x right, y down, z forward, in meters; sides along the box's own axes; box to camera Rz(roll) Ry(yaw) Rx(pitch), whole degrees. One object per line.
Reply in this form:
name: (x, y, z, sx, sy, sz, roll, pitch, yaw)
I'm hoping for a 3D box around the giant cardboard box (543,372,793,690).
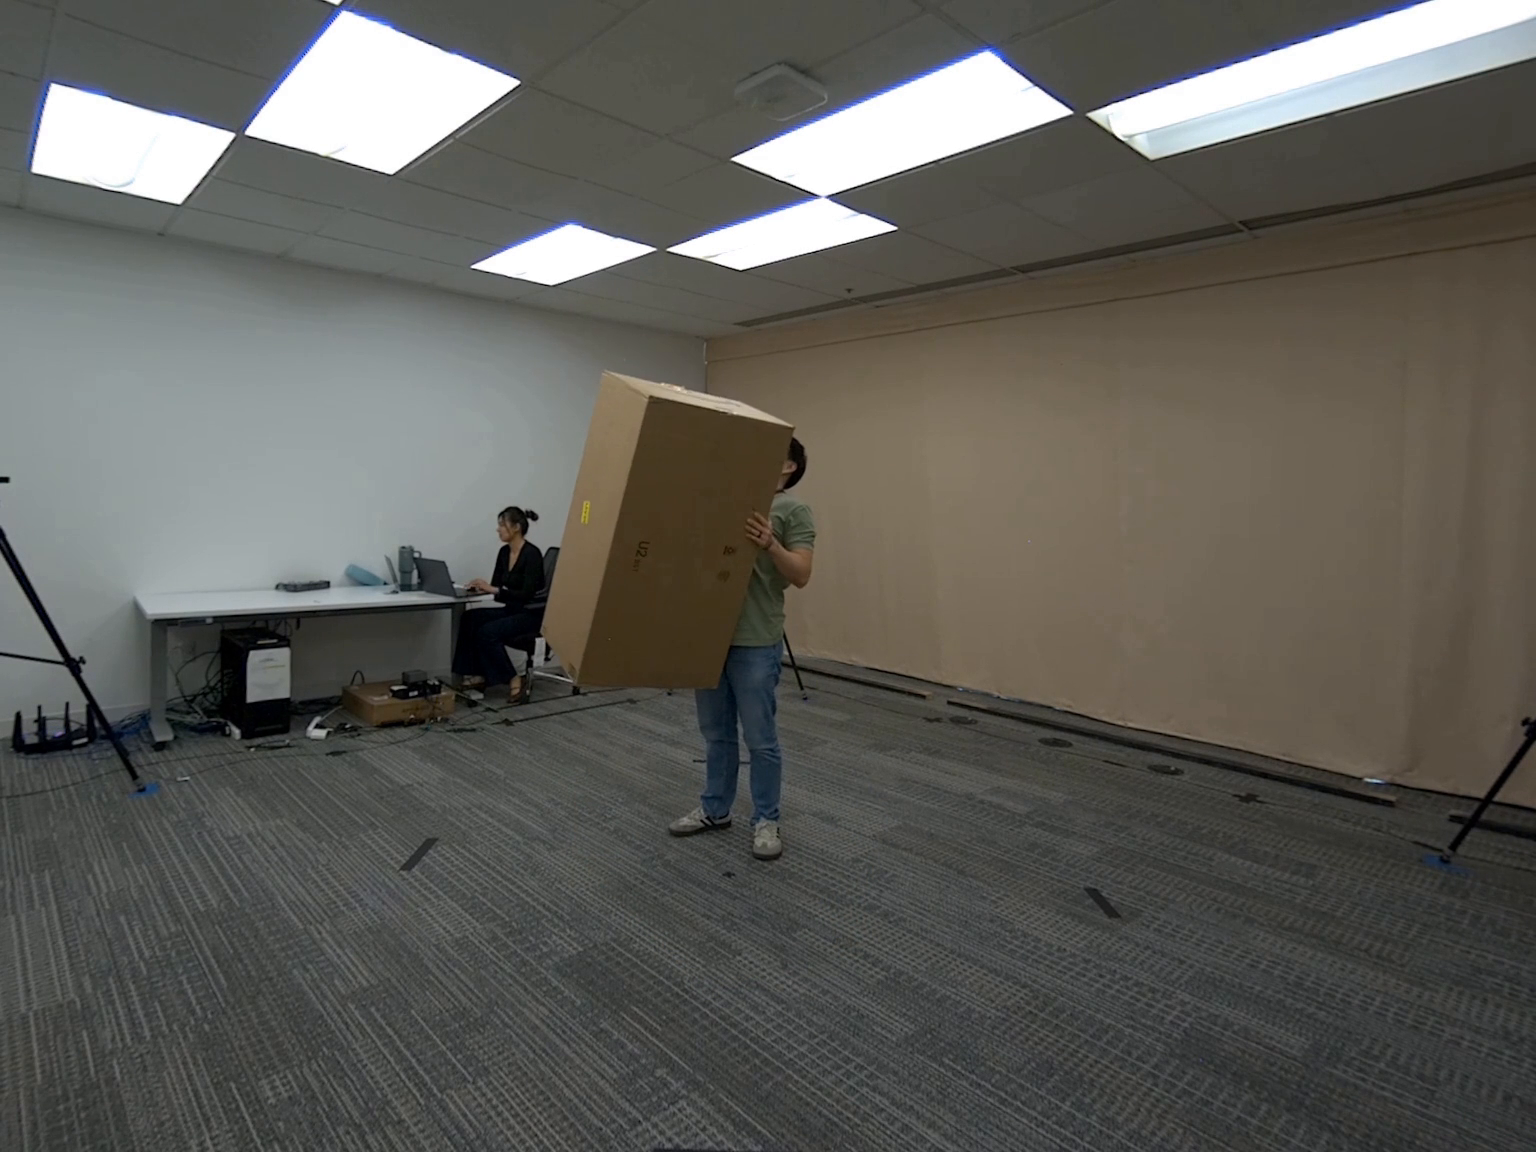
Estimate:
giant cardboard box: (-0.388, -0.154, 3.050, 0.564, 1.019, 0.439, 7, 18, -34)
